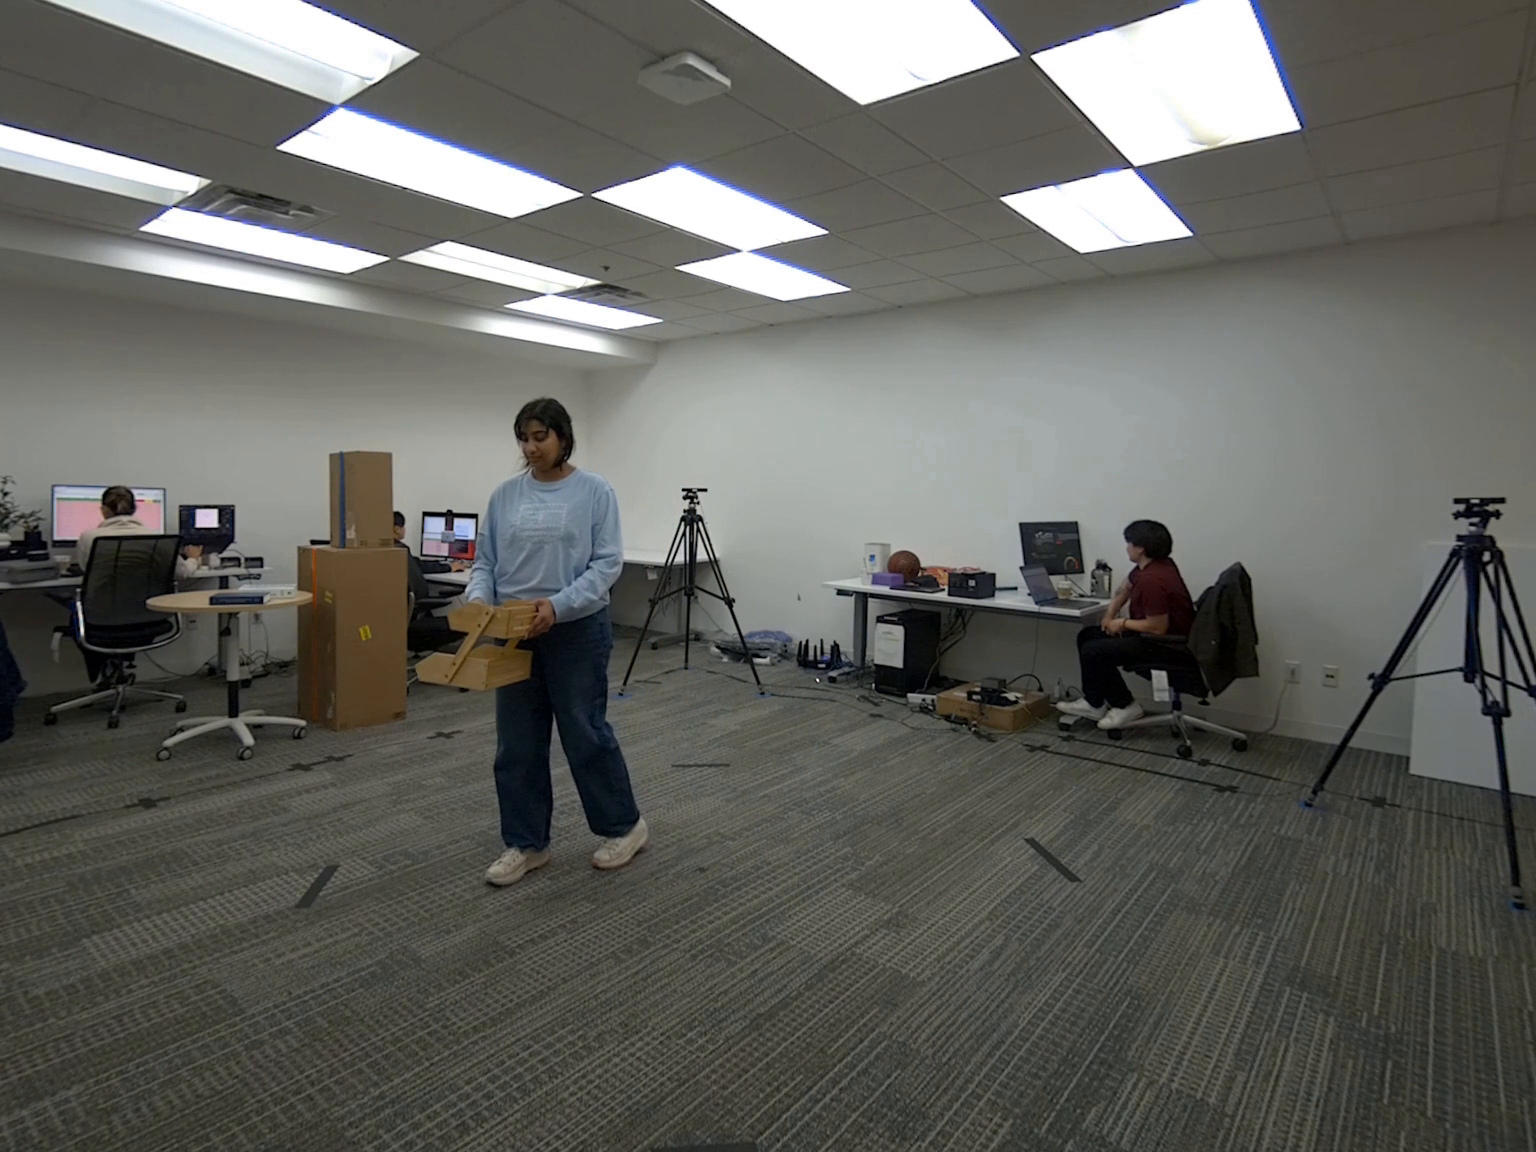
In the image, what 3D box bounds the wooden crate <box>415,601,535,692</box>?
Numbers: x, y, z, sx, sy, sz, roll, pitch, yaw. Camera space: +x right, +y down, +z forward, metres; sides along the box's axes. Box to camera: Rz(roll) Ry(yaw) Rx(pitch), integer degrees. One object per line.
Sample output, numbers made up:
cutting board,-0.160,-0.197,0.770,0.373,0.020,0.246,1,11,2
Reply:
wooden crate,-0.937,0.199,2.775,0.307,0.273,0.319,6,0,12
